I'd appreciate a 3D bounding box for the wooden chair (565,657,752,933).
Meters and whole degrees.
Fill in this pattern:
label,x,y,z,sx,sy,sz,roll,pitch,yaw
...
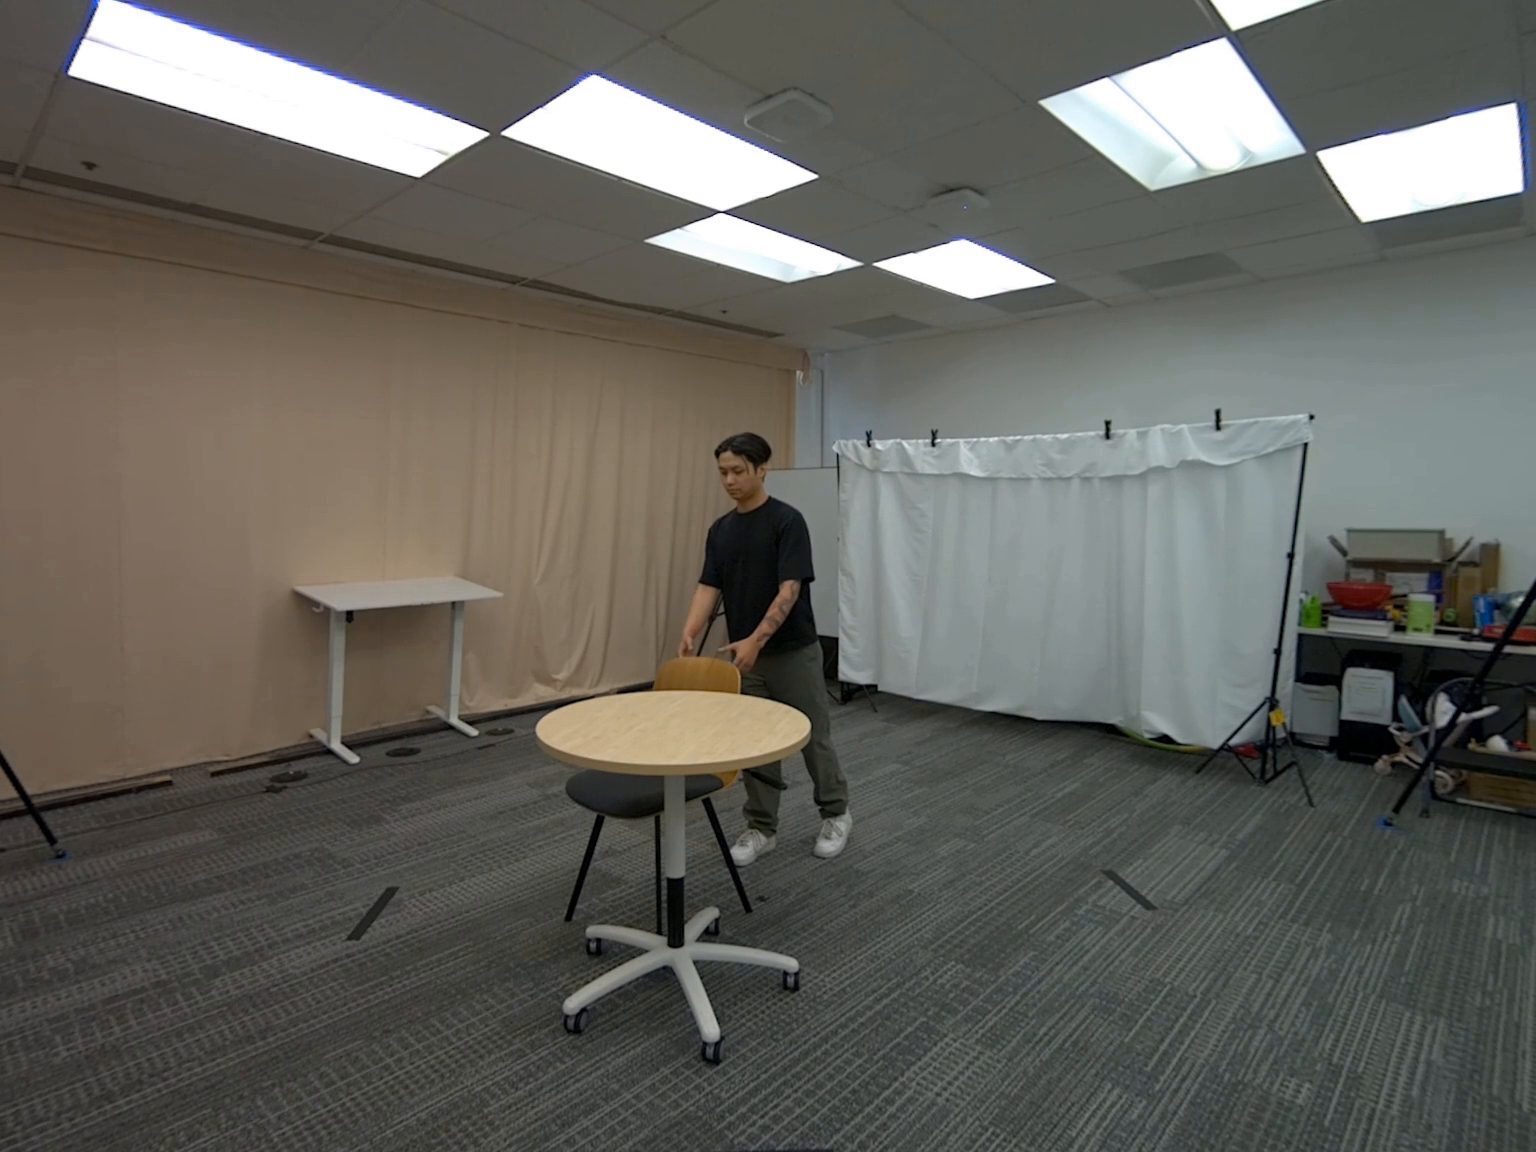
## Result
label,x,y,z,sx,sy,sz,roll,pitch,yaw
wooden chair,-0.373,0.729,2.821,0.493,0.878,0.506,2,-1,39
